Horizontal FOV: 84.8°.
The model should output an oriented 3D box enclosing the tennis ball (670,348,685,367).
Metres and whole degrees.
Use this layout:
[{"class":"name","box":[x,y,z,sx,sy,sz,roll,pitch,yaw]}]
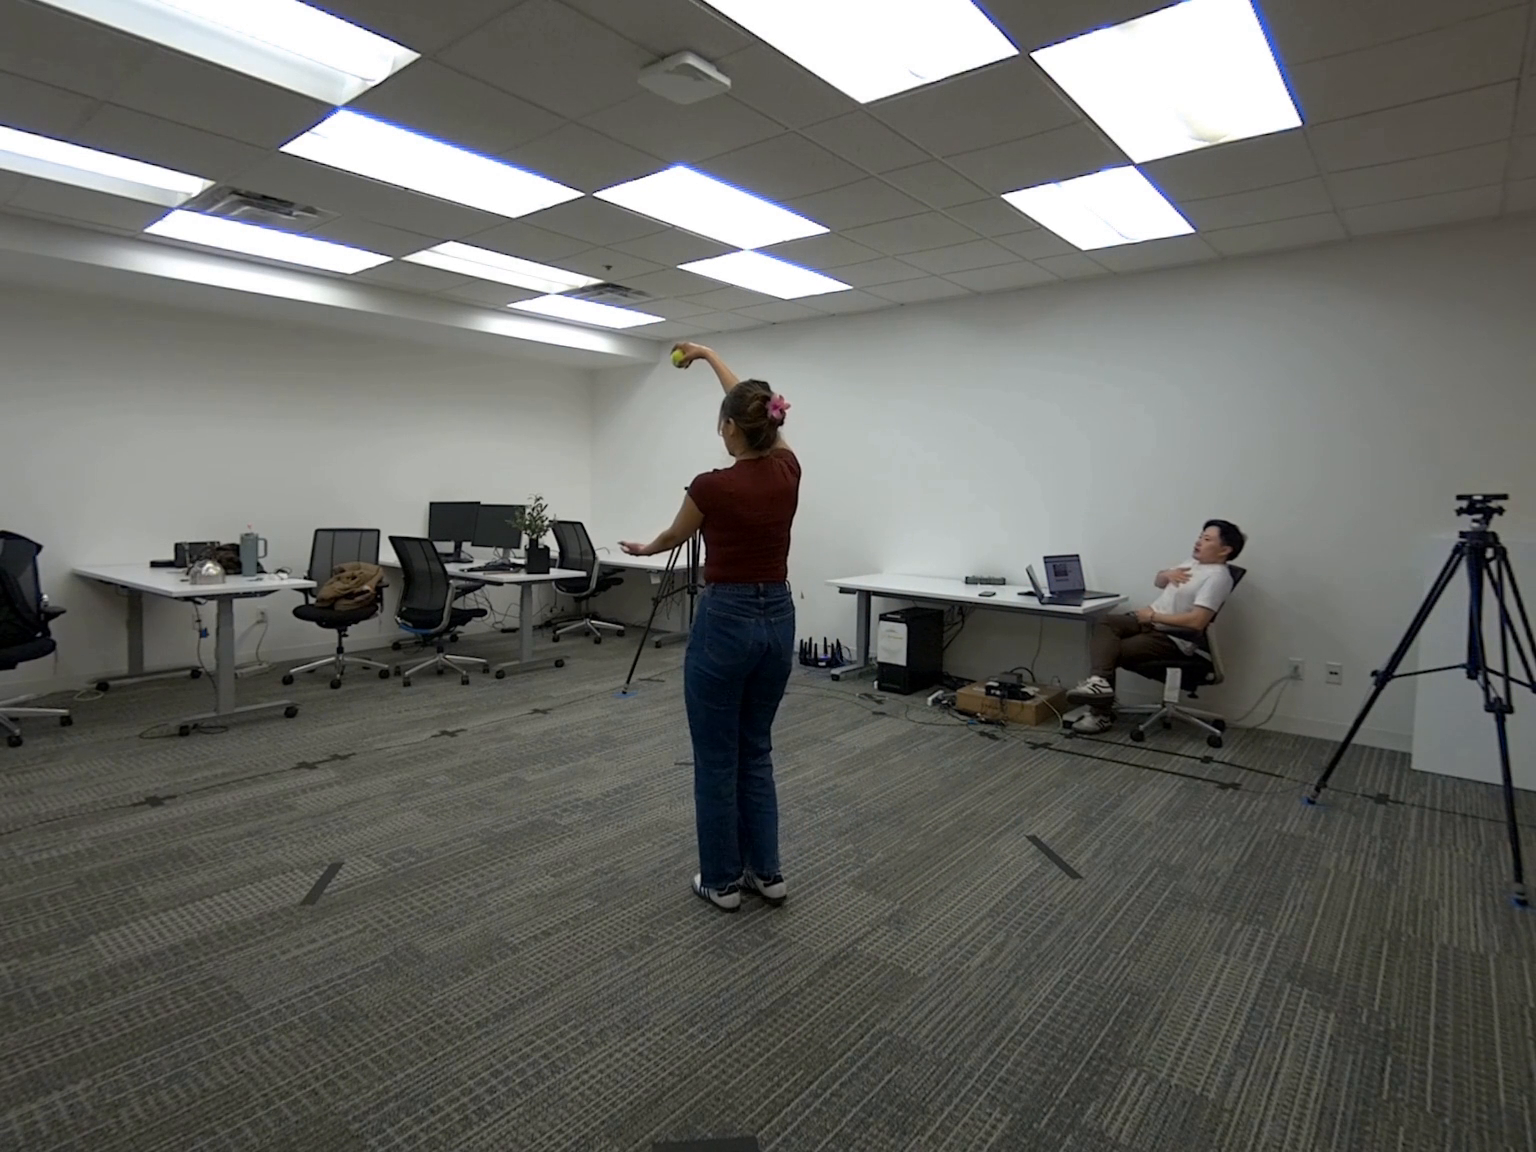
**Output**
[{"class":"tennis ball","box":[-0.291,-0.798,3.048,0.066,0.066,0.067,1,4,-2]}]
